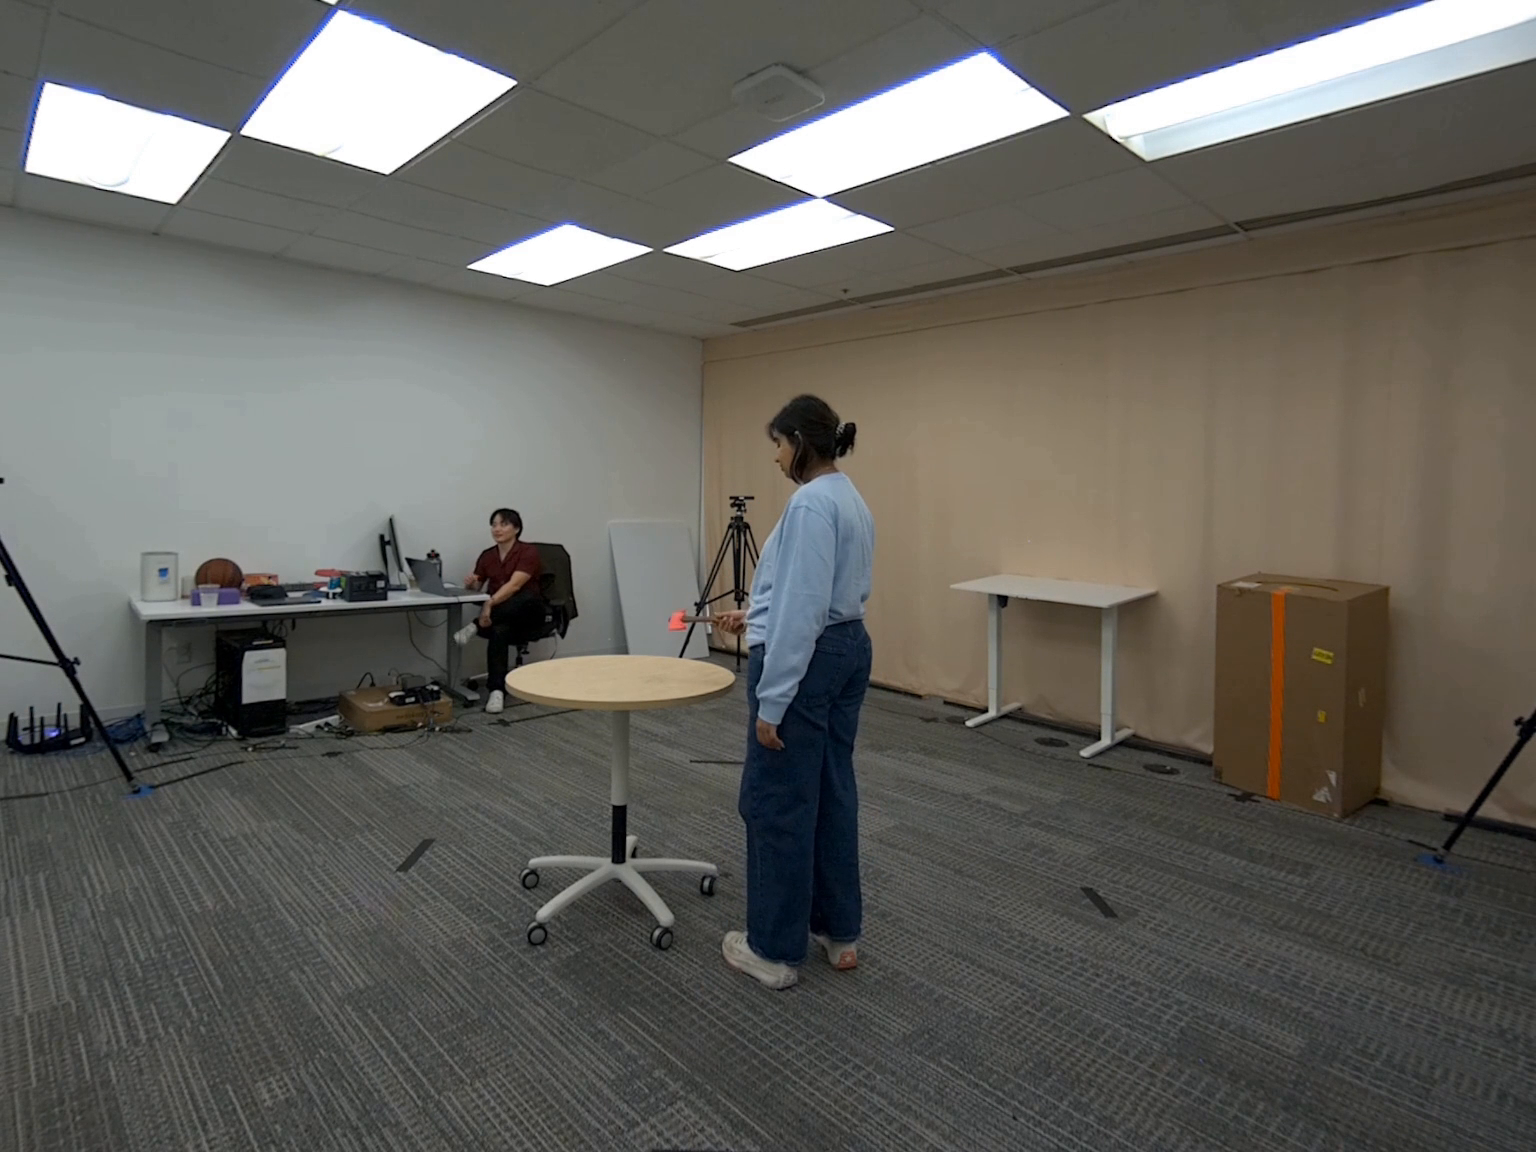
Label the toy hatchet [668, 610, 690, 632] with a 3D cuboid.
[{"bbox_3d":[-0.214,0.158,2.791,0.276,0.029,0.130,6,27,32],"label":"toy hatchet"}]
